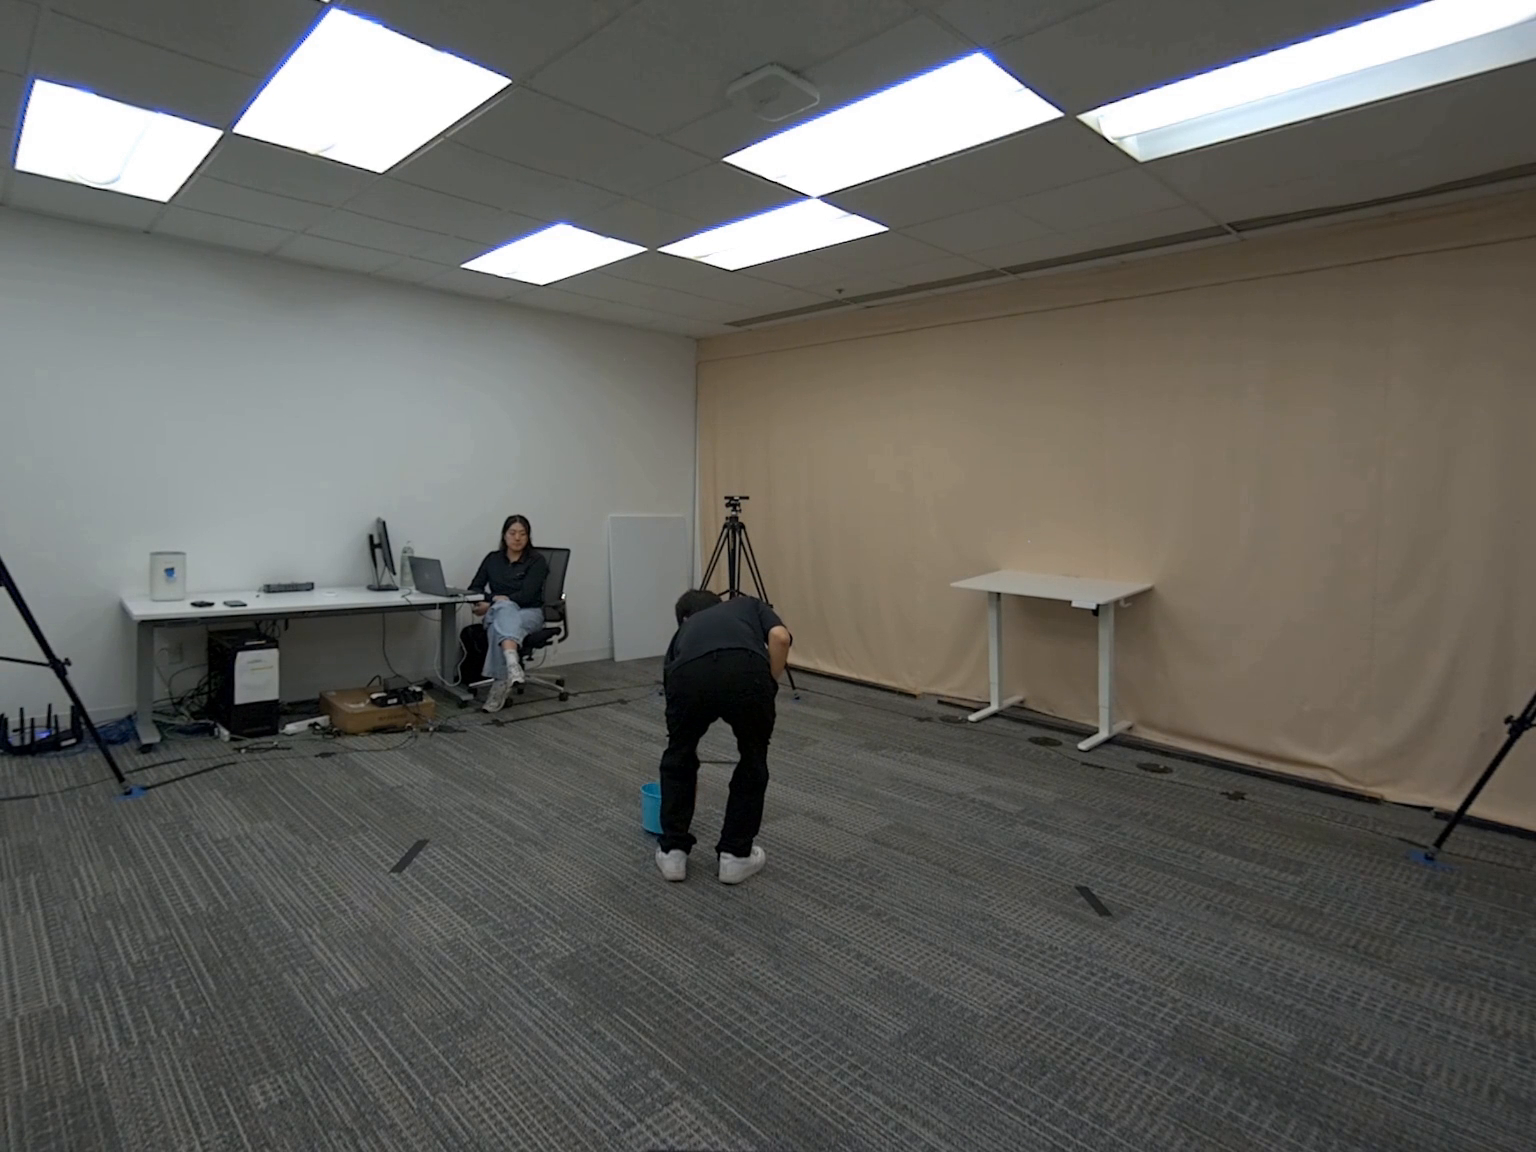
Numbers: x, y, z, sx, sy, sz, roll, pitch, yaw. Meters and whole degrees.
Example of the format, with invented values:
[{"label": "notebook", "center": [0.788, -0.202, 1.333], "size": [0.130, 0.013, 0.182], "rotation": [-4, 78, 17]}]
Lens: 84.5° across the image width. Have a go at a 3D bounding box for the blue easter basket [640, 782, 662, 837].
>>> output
[{"label": "blue easter basket", "center": [-0.427, 0.971, 3.512], "size": [0.243, 0.156, 0.244], "rotation": [5, 2, -1]}]
